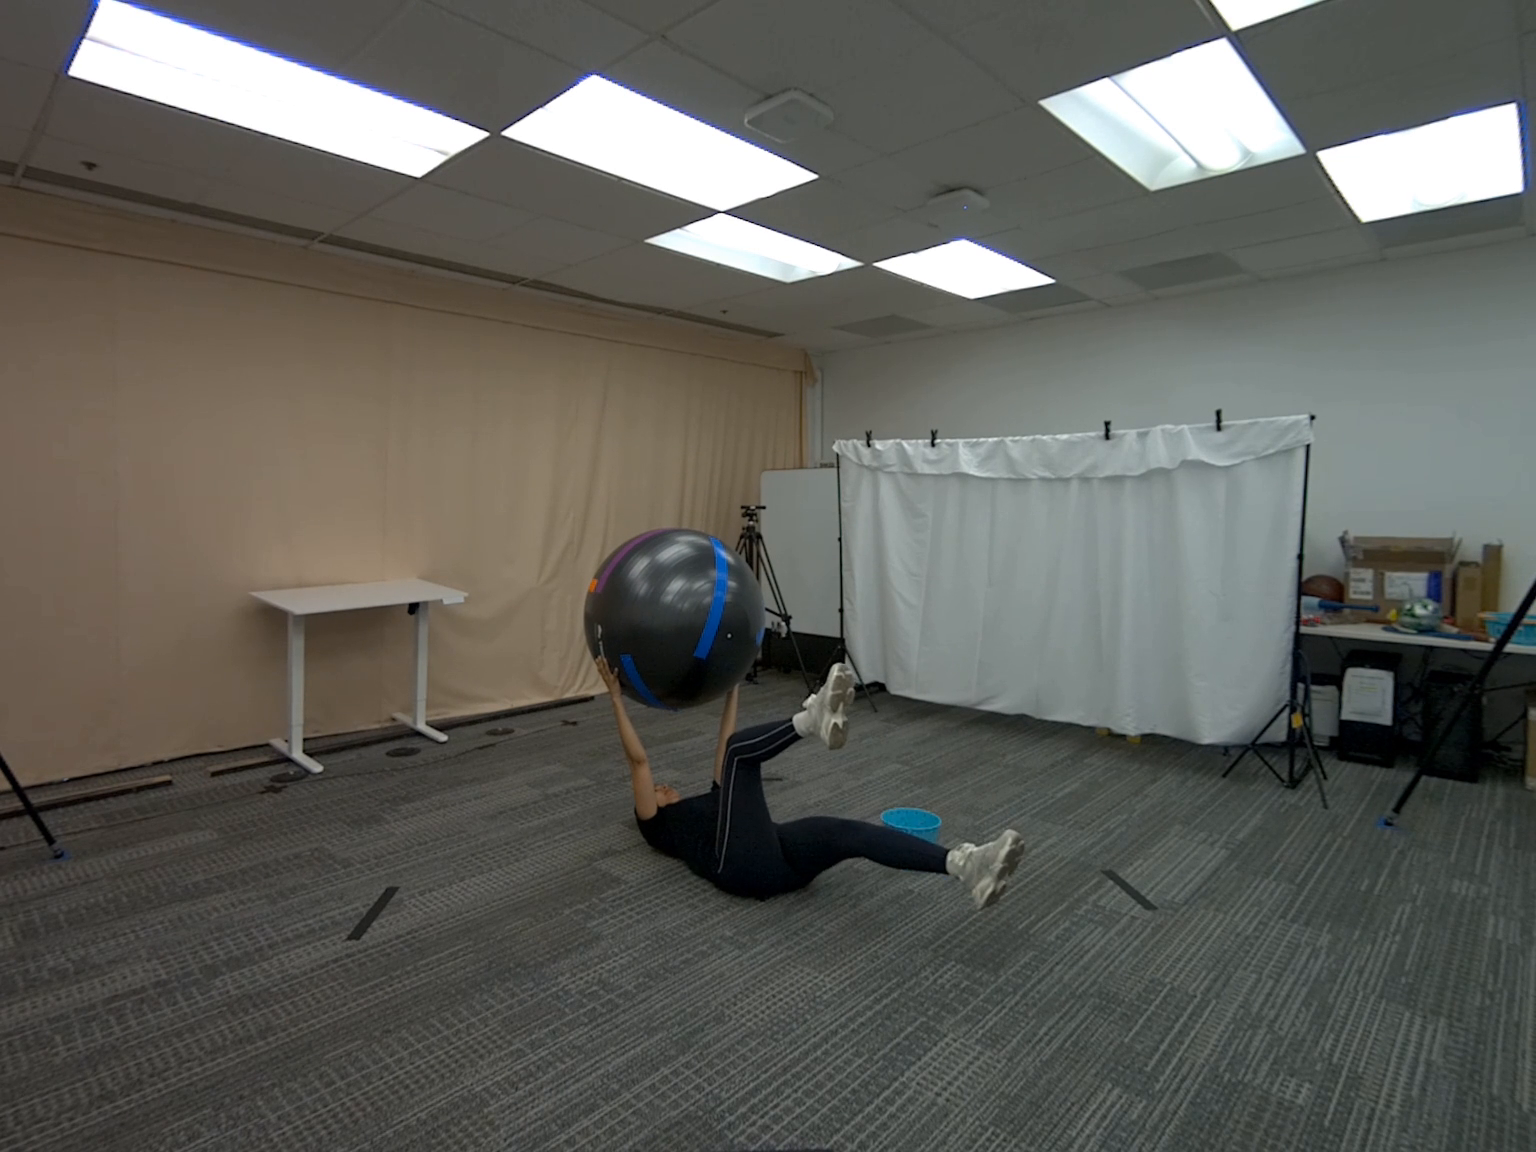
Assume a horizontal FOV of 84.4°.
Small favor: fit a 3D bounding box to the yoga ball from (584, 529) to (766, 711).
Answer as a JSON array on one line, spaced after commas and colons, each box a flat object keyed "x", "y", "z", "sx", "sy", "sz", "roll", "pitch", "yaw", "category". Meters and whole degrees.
[{"x": -0.389, "y": 0.178, "z": 3.530, "sx": 0.757, "sy": 0.756, "sz": 0.761, "roll": 3, "pitch": 5, "yaw": -2, "category": "yoga ball"}]
